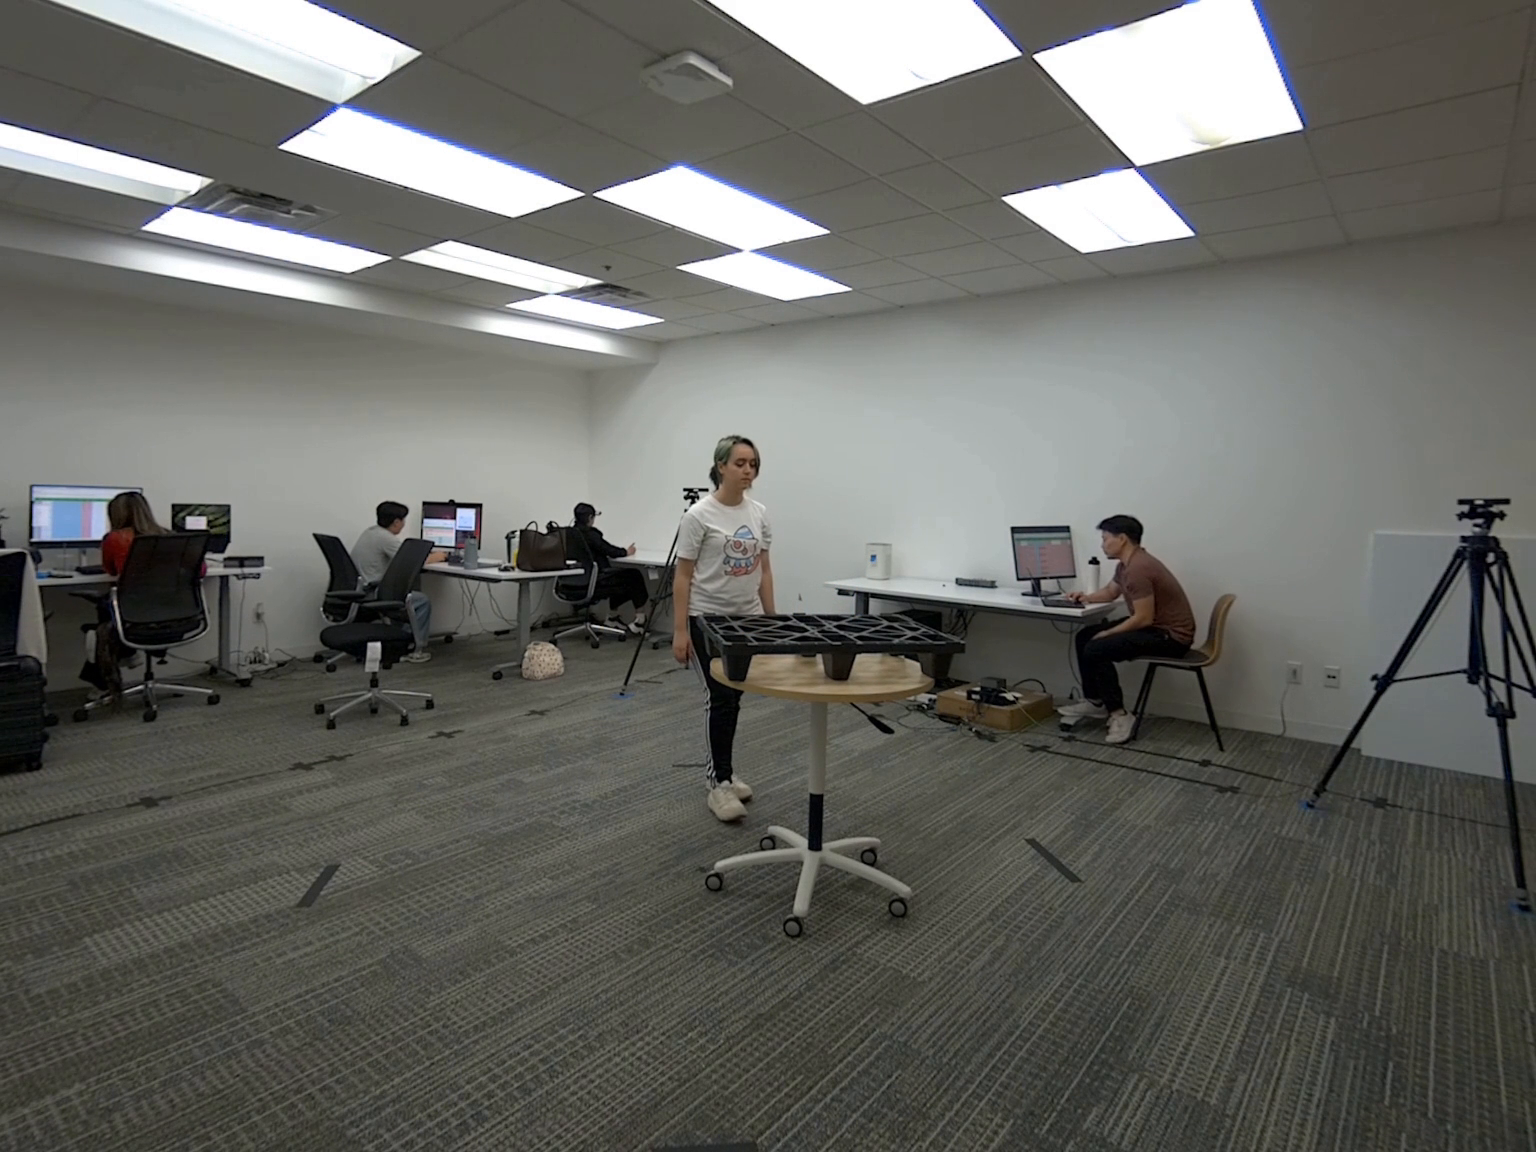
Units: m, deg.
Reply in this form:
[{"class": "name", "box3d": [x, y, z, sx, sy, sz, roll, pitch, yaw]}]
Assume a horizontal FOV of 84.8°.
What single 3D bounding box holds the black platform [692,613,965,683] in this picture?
[{"class": "black platform", "box3d": [0.170, 0.241, 2.969, 0.796, 0.143, 0.615, 0, 6, -11]}]
